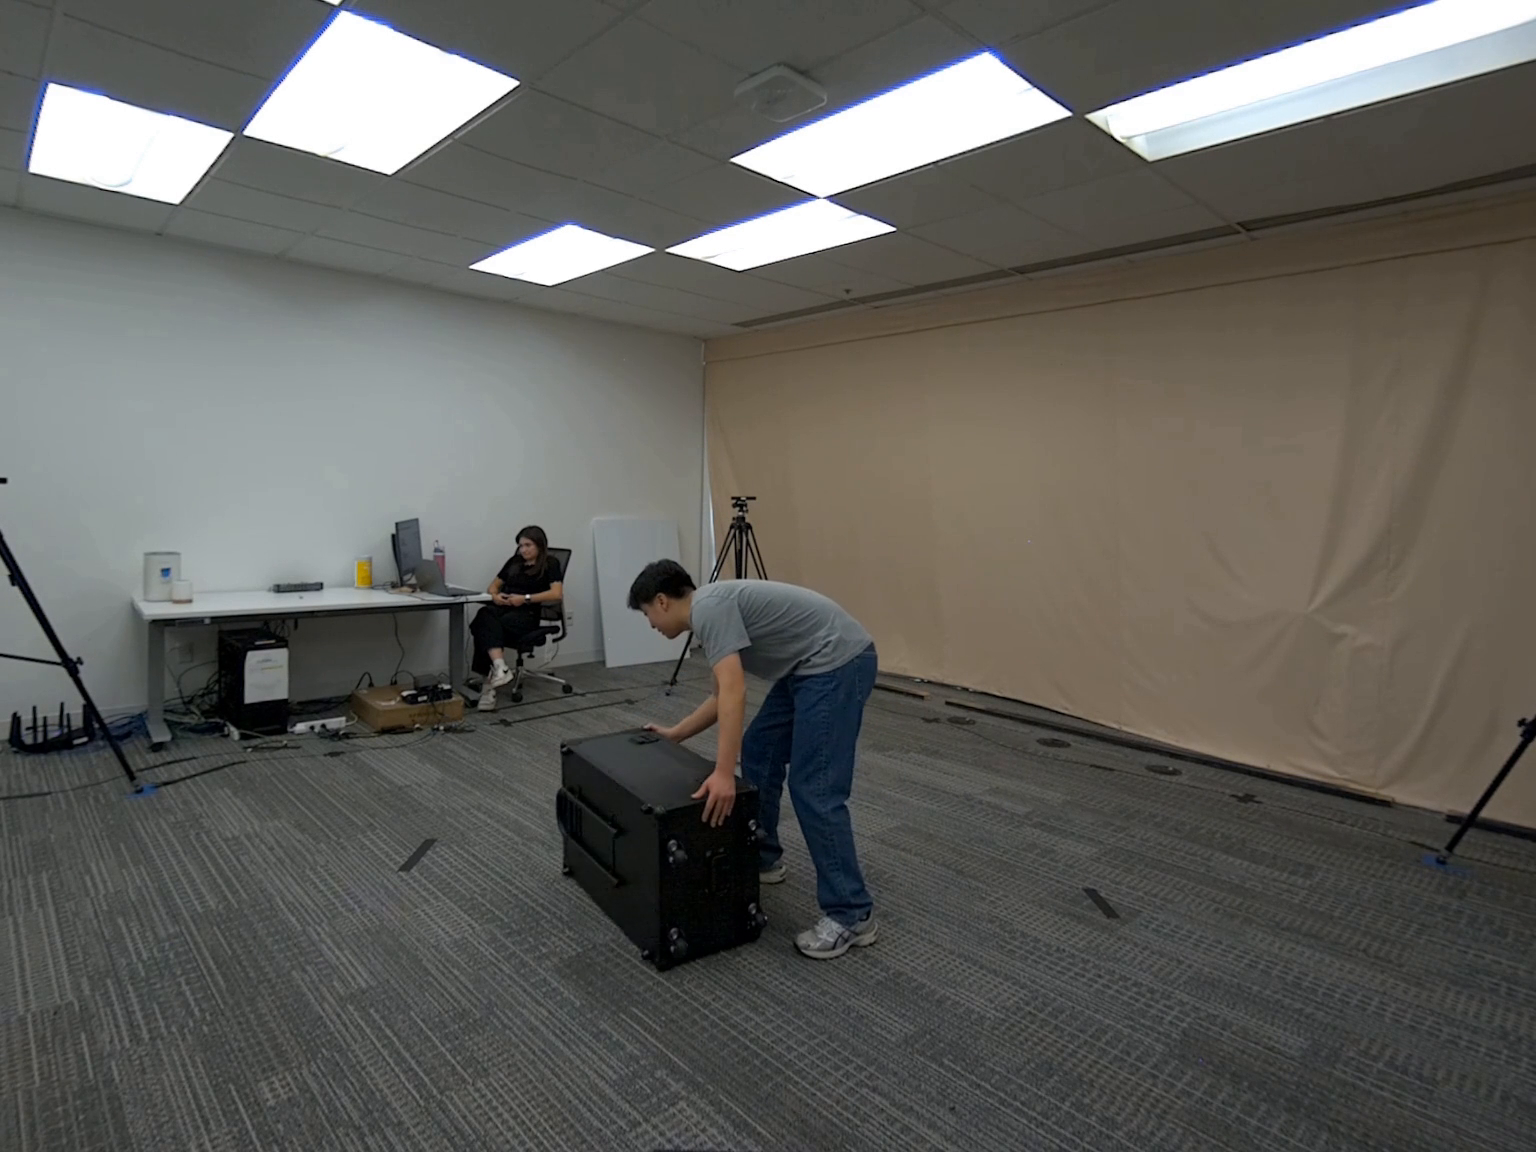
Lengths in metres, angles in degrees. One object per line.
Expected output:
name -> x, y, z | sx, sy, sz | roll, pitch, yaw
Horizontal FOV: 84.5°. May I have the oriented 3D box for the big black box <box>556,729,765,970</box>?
big black box -> -0.387, 0.873, 2.823 | 0.388, 0.519, 0.882 | -3, 6, -33
